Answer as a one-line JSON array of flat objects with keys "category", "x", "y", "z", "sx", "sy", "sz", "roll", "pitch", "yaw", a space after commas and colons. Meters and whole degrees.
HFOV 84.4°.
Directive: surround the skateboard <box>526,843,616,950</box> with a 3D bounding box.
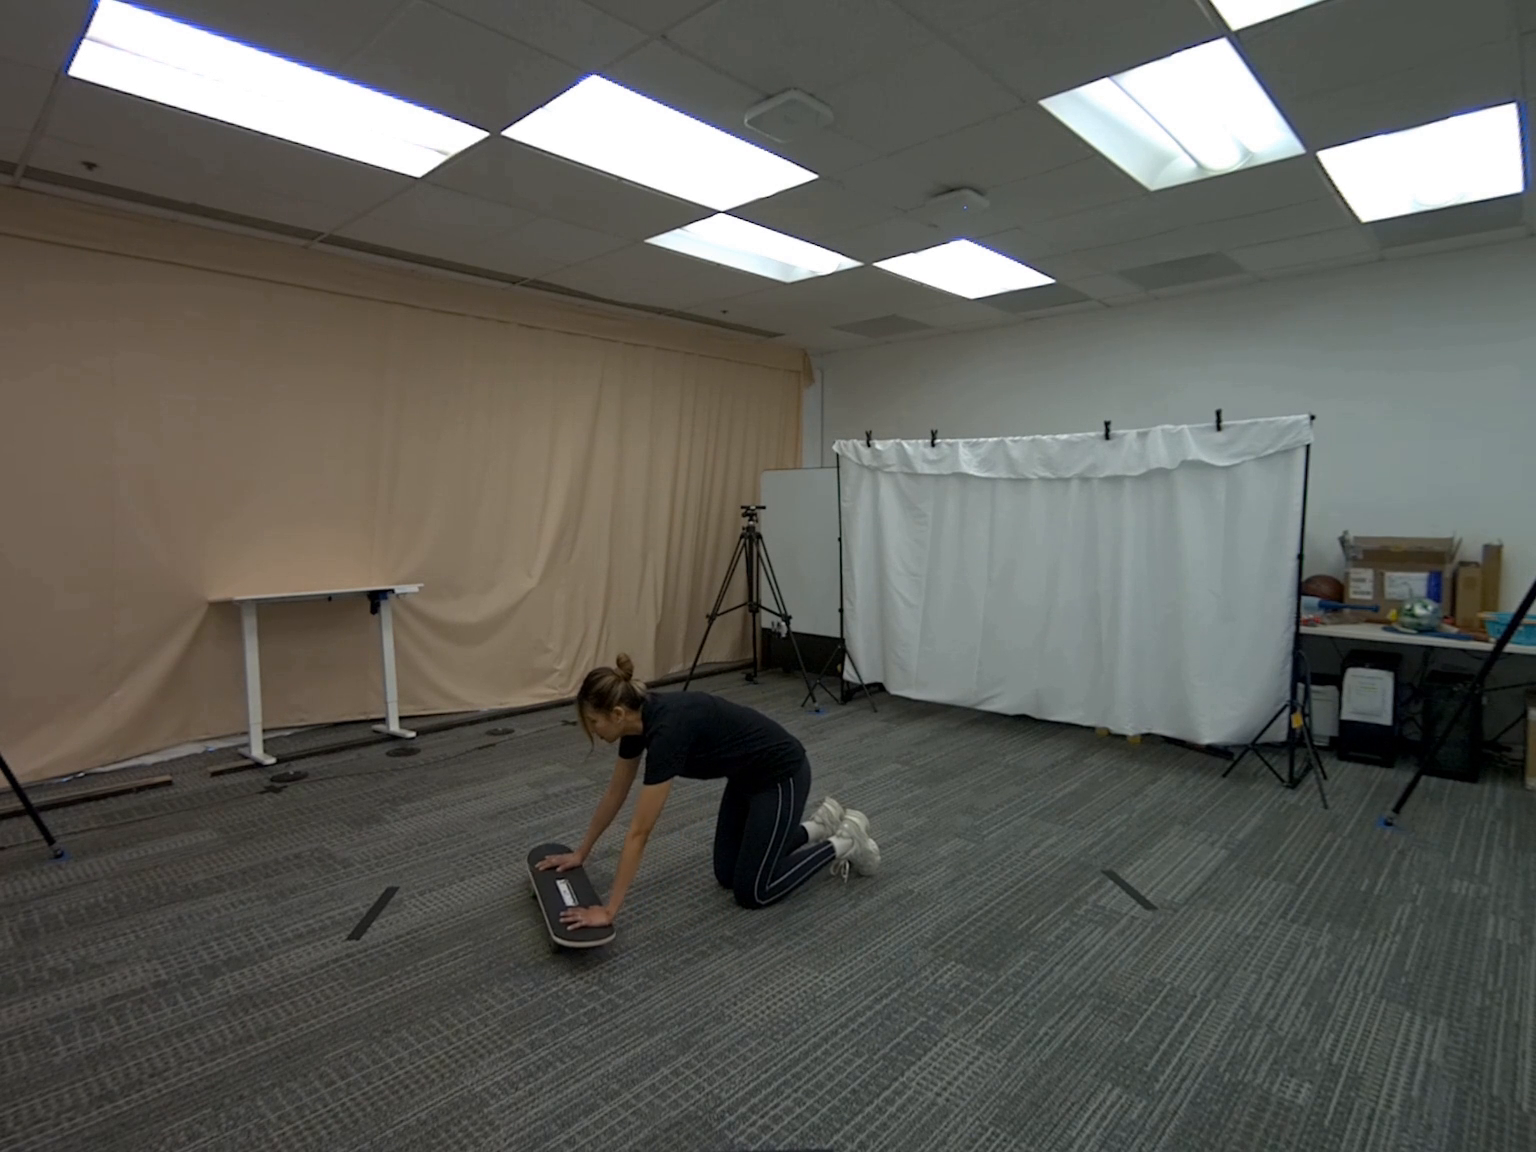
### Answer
[{"category": "skateboard", "x": -0.679, "y": 1.105, "z": 2.855, "sx": 0.189, "sy": 0.110, "sz": 0.804, "roll": 0, "pitch": 5, "yaw": -23}]
